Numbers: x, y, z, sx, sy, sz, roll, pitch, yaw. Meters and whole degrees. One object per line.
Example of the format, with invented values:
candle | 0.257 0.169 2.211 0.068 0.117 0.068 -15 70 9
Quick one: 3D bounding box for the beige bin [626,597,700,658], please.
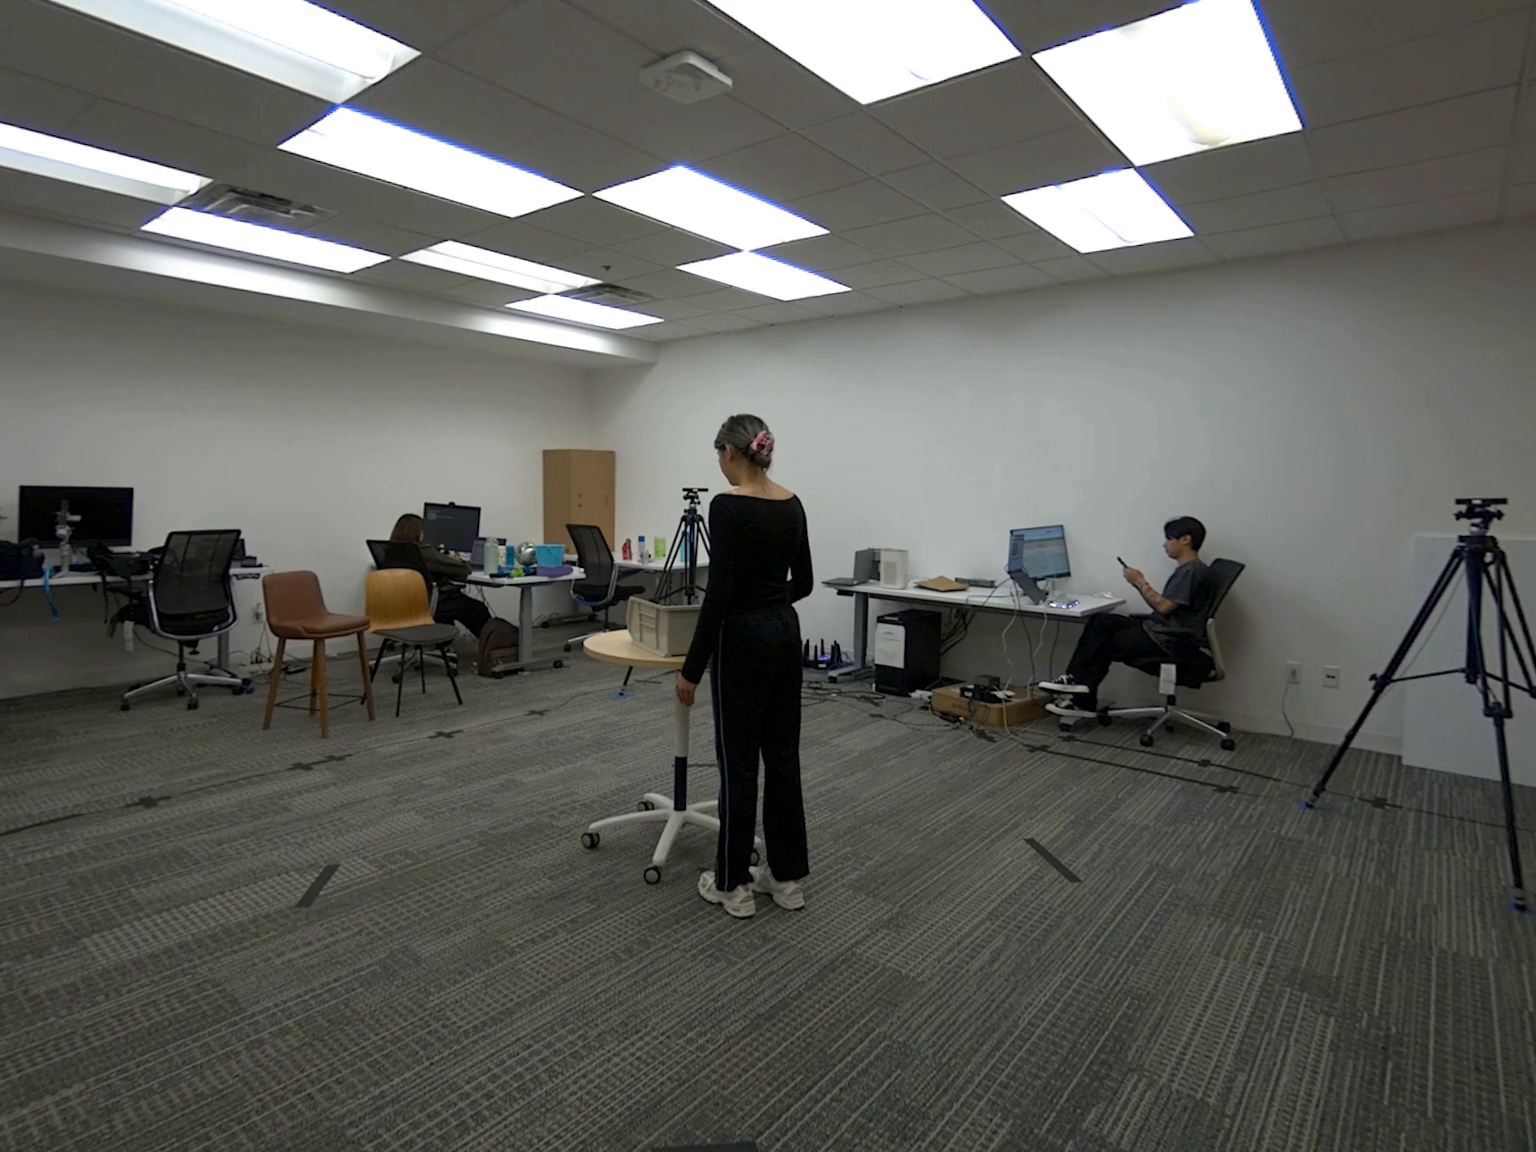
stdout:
beige bin | -0.286 0.172 3.214 0.411 0.188 0.389 0 6 -28
